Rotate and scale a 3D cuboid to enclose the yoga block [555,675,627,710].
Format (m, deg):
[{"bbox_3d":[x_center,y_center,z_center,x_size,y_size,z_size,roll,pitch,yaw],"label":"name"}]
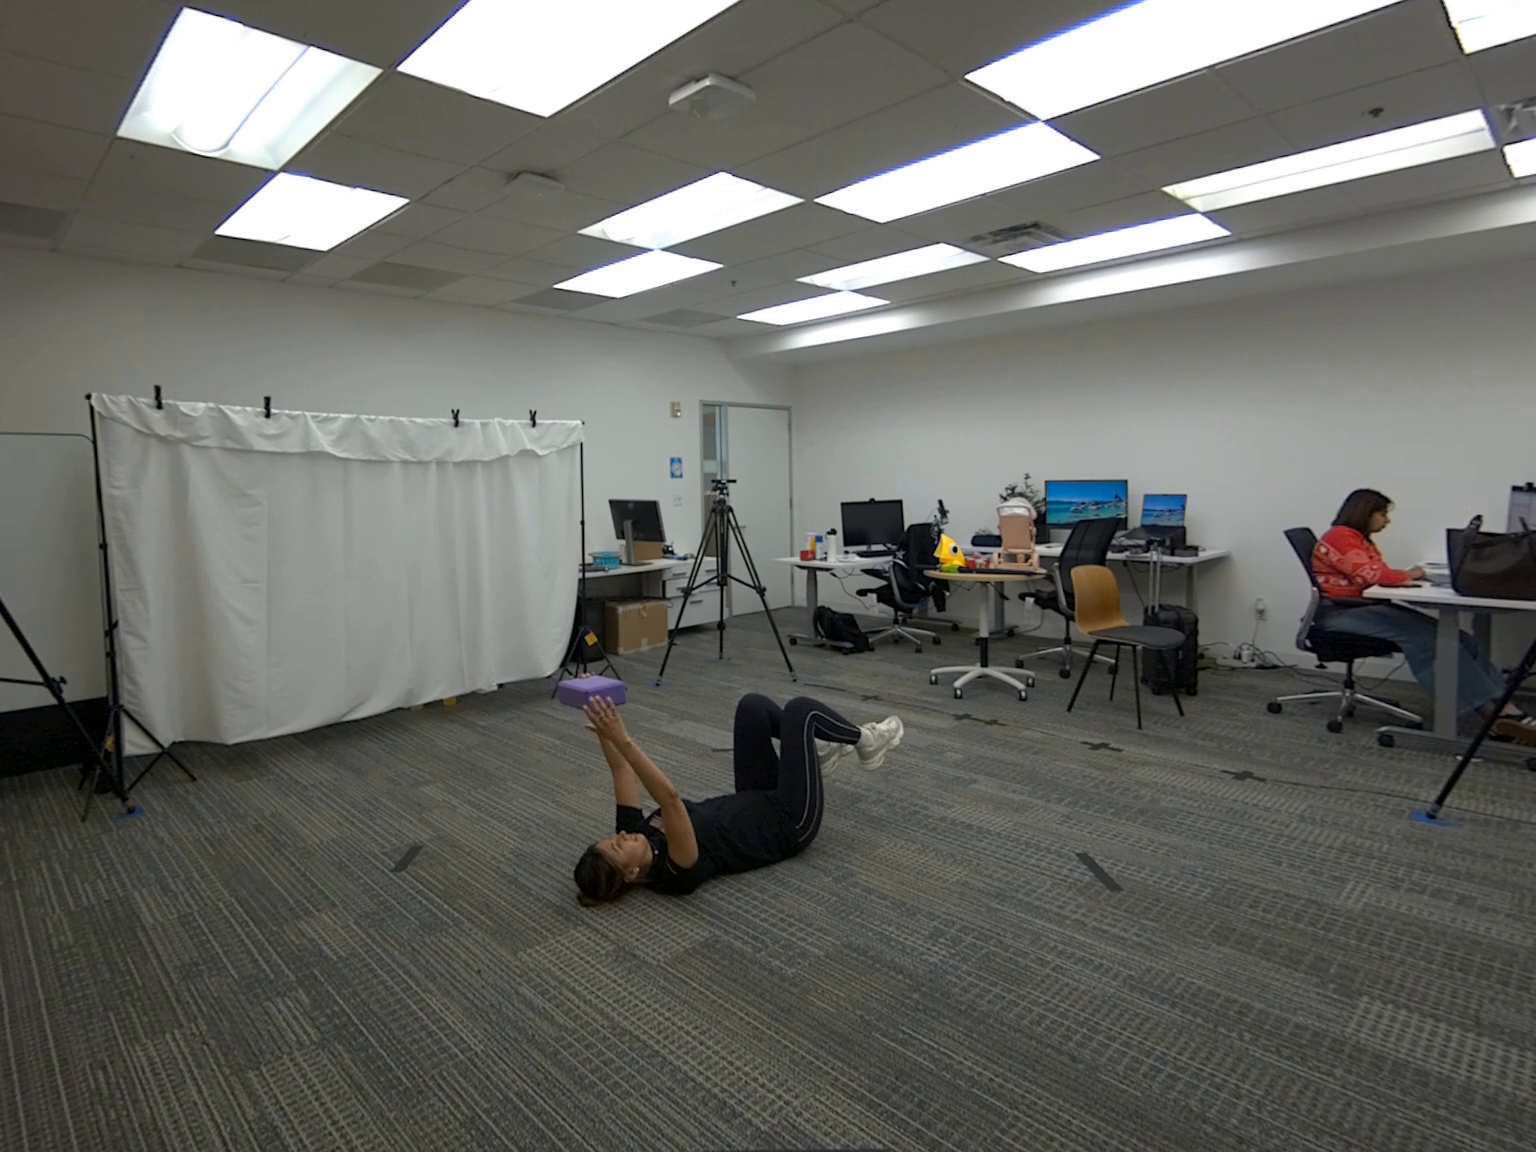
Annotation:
[{"bbox_3d":[-0.599,0.397,2.872,0.145,0.076,0.235,-7,5,-33],"label":"yoga block"}]
